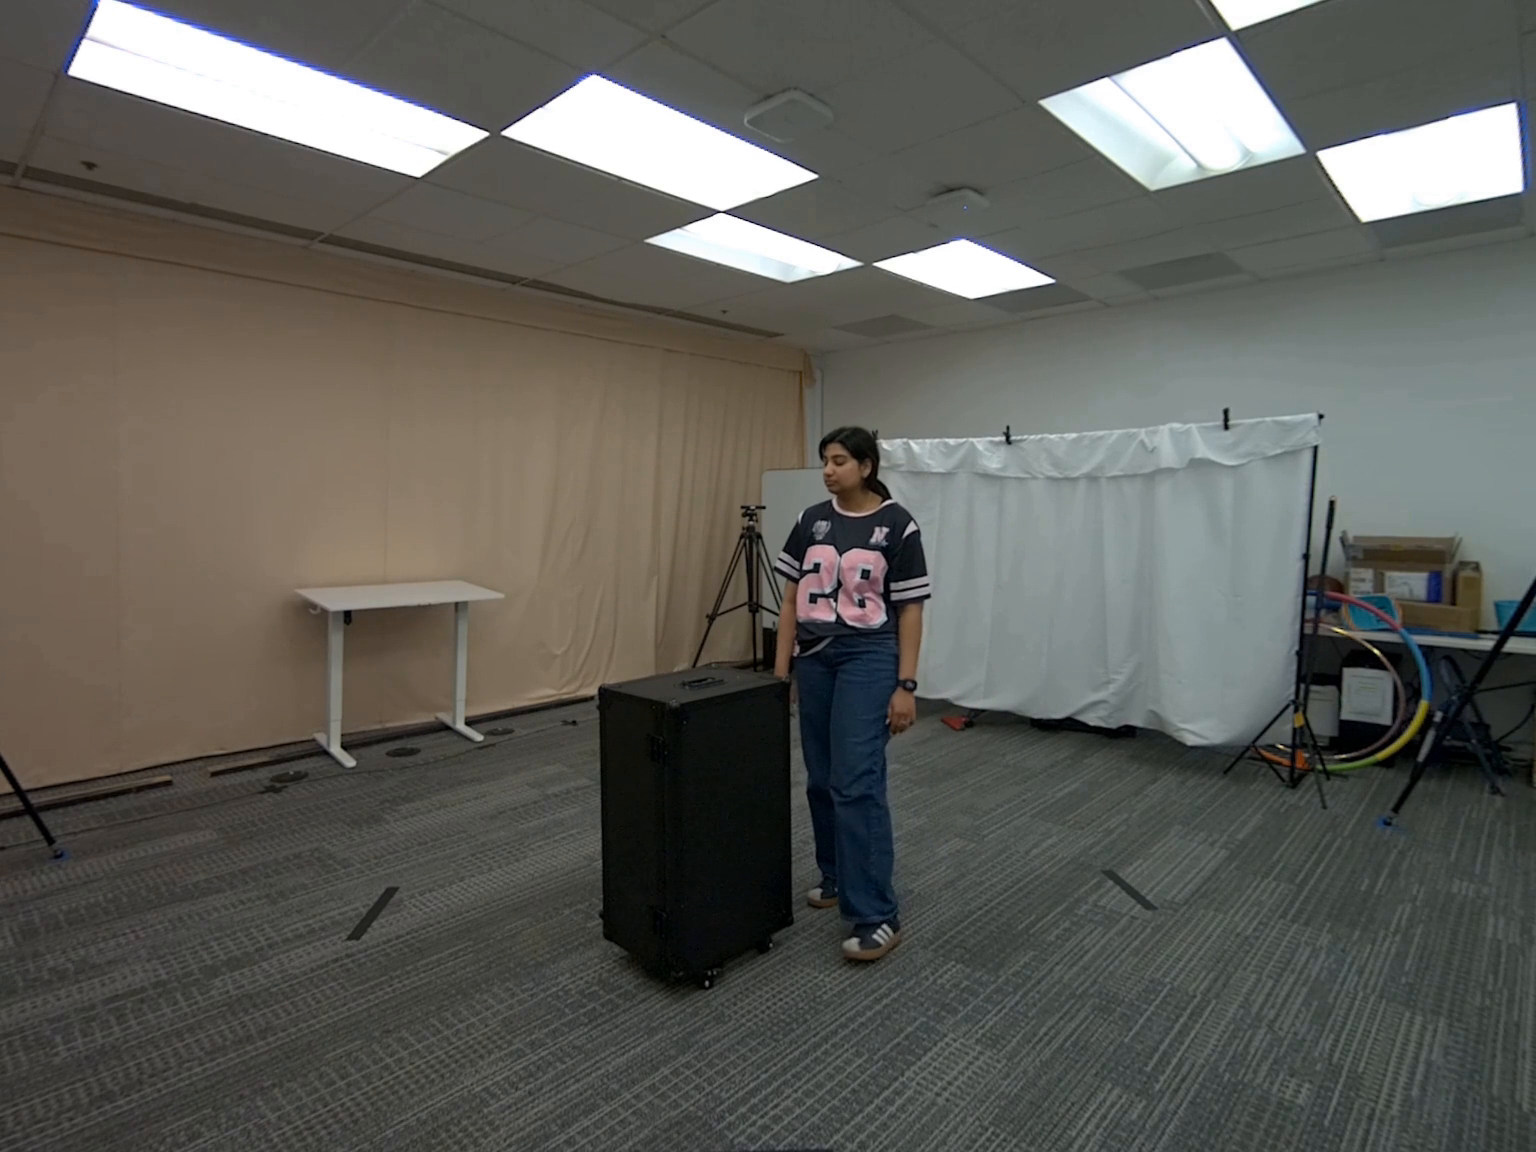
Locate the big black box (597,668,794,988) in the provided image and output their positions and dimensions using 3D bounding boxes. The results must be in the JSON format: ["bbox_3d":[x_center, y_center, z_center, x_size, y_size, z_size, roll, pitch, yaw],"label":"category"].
[{"bbox_3d":[-0.224,0.757,2.596,0.398,0.867,0.507,2,3,44],"label":"big black box"}]
